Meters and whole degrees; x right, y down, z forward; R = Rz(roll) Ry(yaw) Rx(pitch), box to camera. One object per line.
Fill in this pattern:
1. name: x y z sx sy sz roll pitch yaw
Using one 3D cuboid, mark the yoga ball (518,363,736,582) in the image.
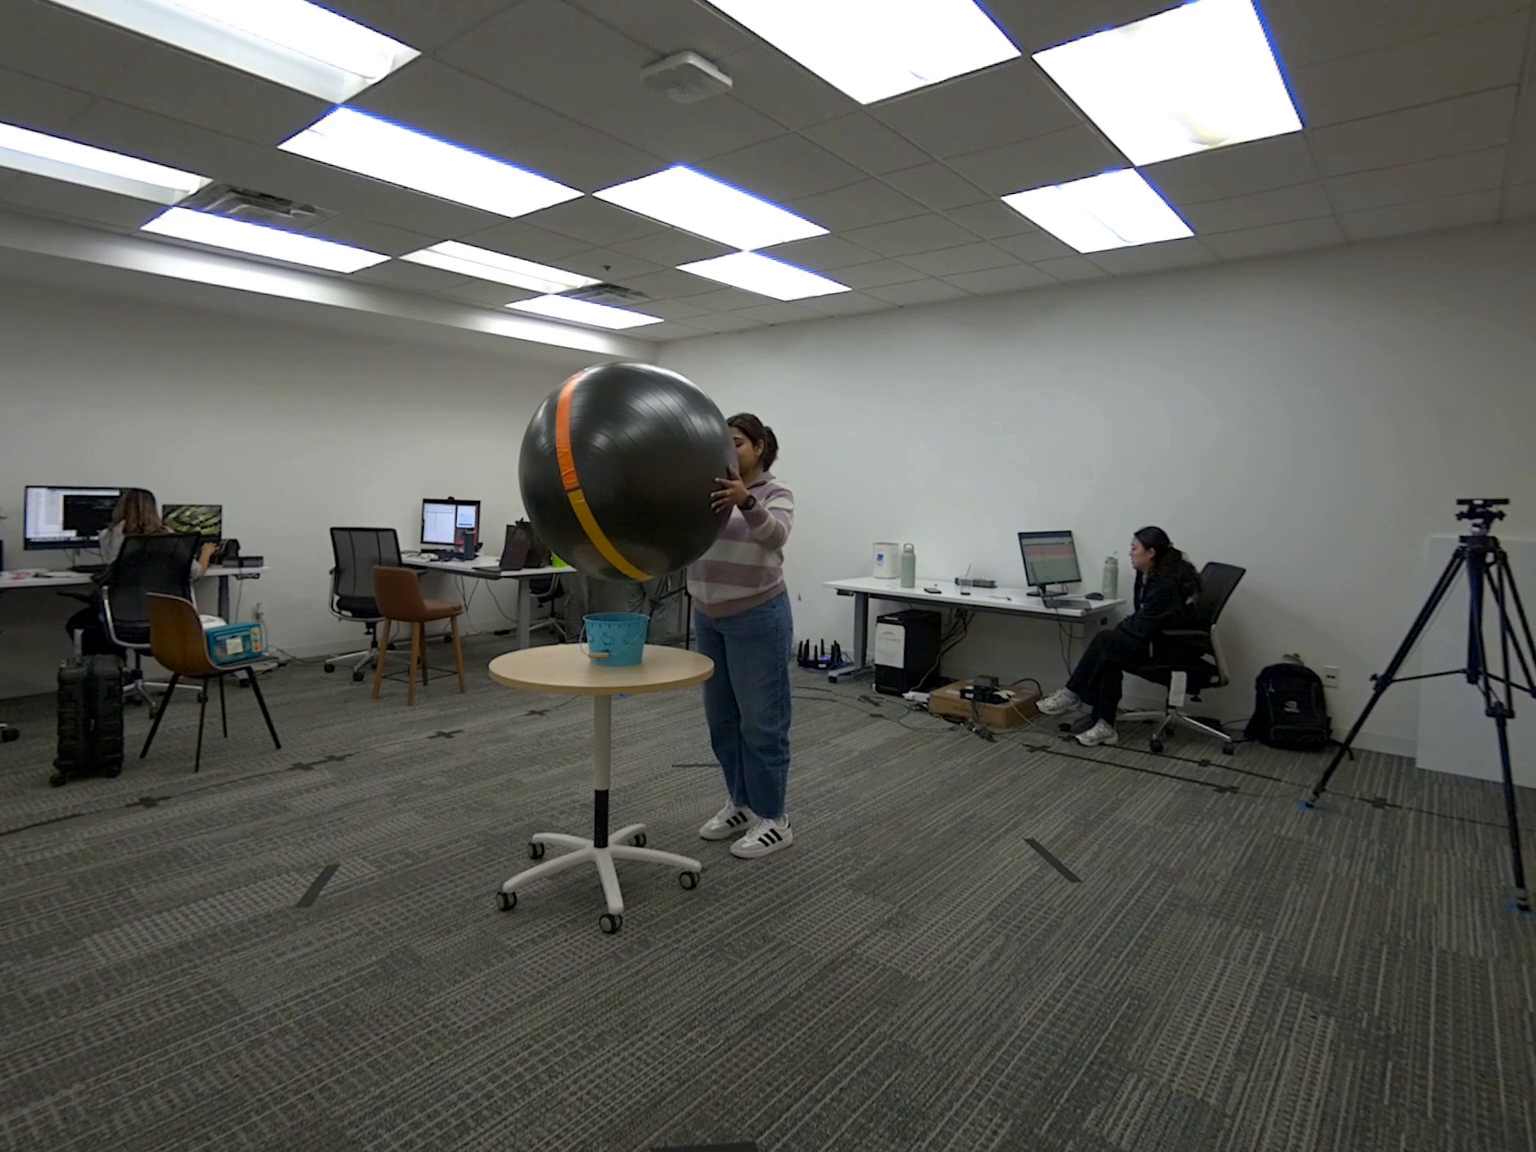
1. yoga ball: -0.487 -0.350 2.936 0.757 0.755 0.762 1 4 -2
